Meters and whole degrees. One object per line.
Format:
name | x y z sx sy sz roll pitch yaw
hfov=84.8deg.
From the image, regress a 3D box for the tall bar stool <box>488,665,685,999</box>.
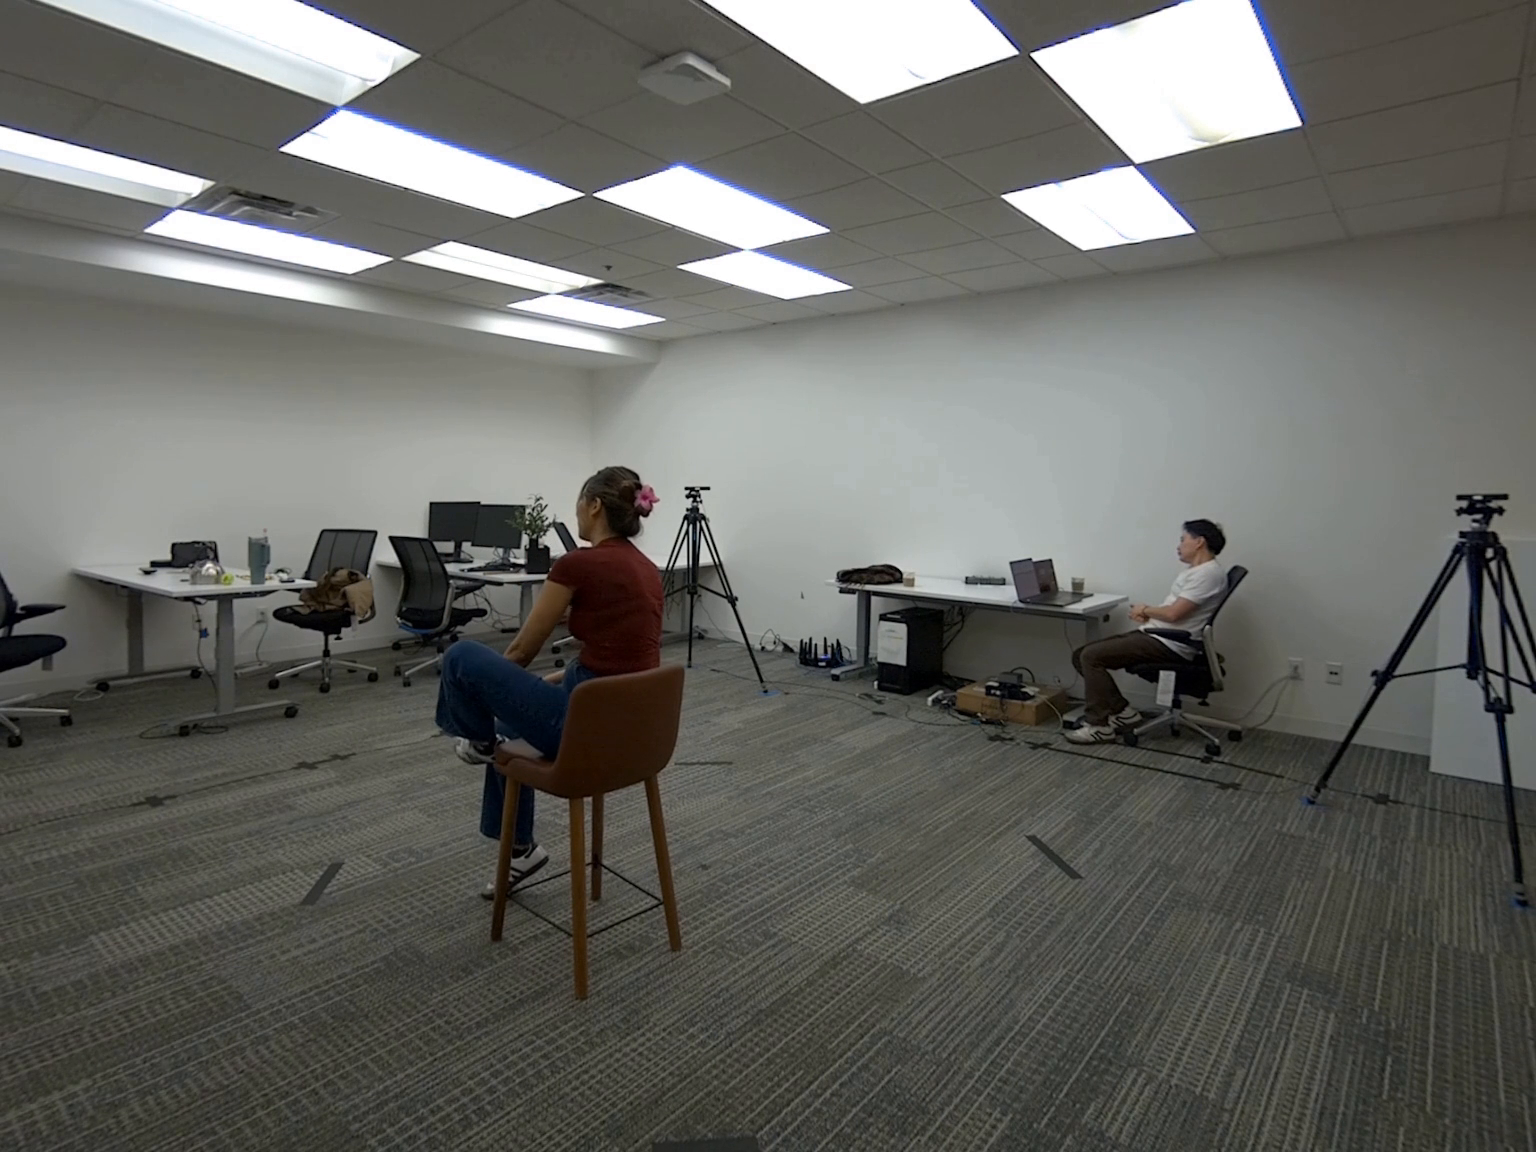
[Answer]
tall bar stool | -0.544 0.685 2.547 0.484 0.885 0.443 7 7 43
